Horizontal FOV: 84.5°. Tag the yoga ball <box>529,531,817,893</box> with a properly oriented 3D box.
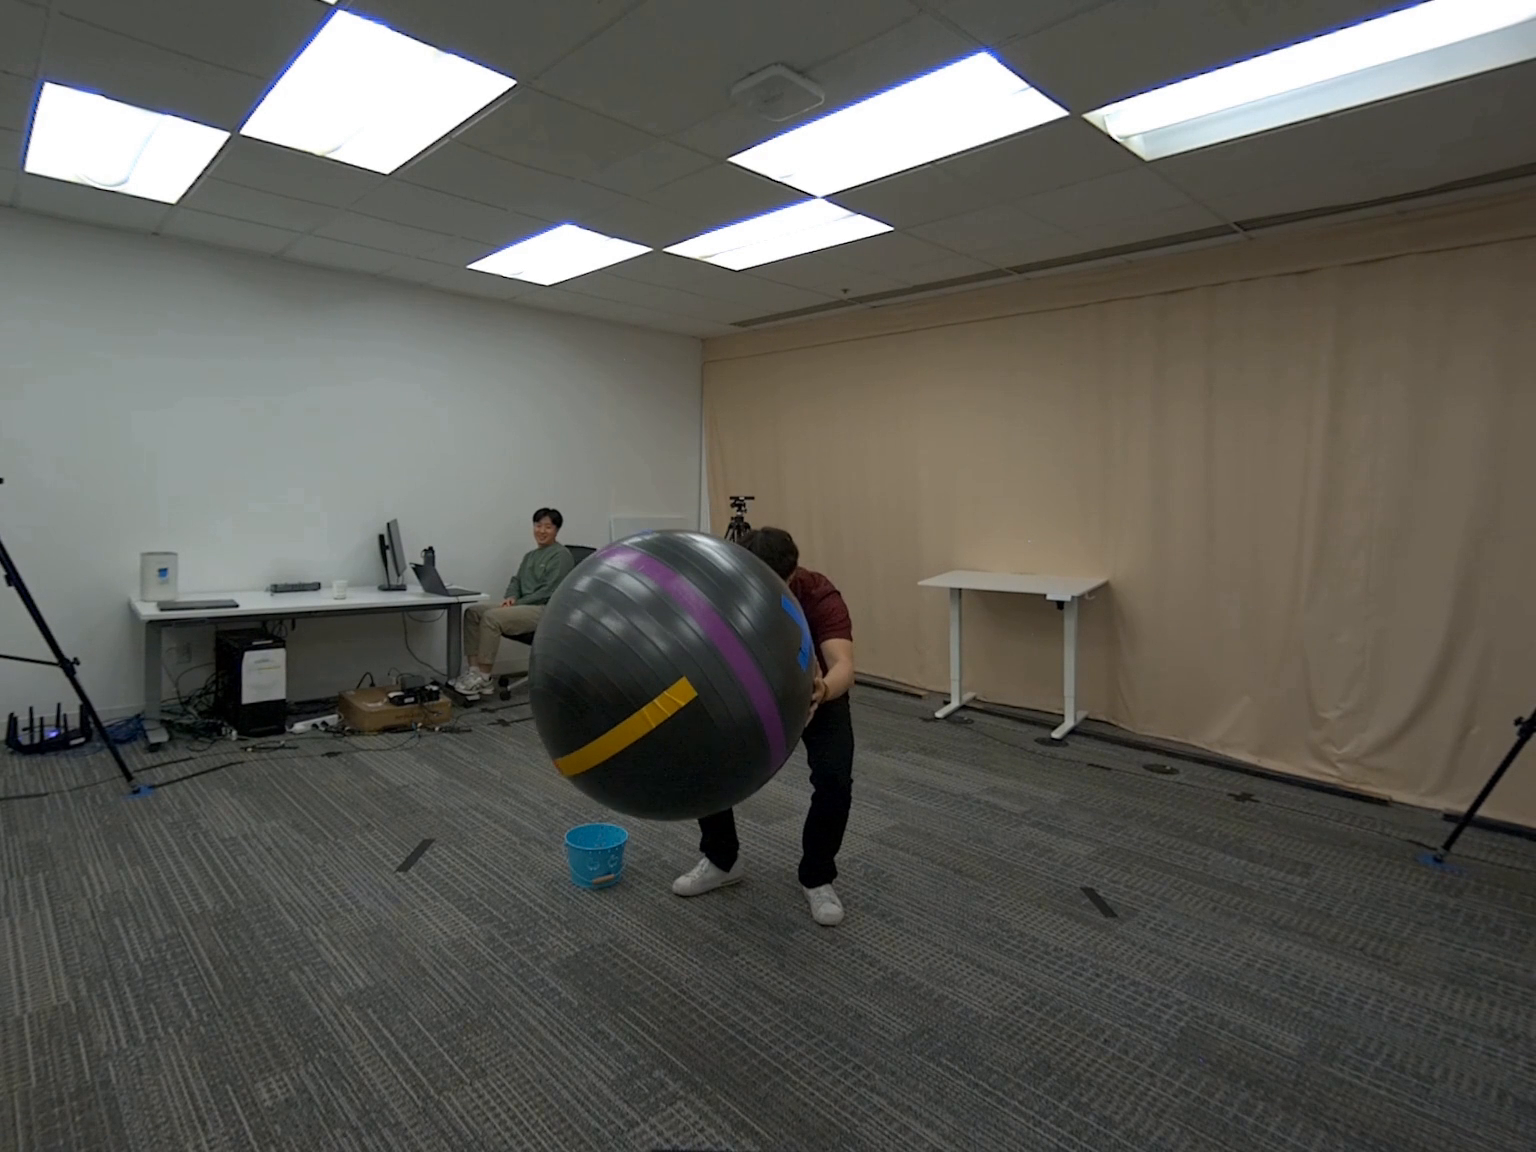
[{"bbox_3d":[-0.256,0.259,2.228,0.757,0.756,0.761,1,4,-1],"label":"yoga ball"}]
